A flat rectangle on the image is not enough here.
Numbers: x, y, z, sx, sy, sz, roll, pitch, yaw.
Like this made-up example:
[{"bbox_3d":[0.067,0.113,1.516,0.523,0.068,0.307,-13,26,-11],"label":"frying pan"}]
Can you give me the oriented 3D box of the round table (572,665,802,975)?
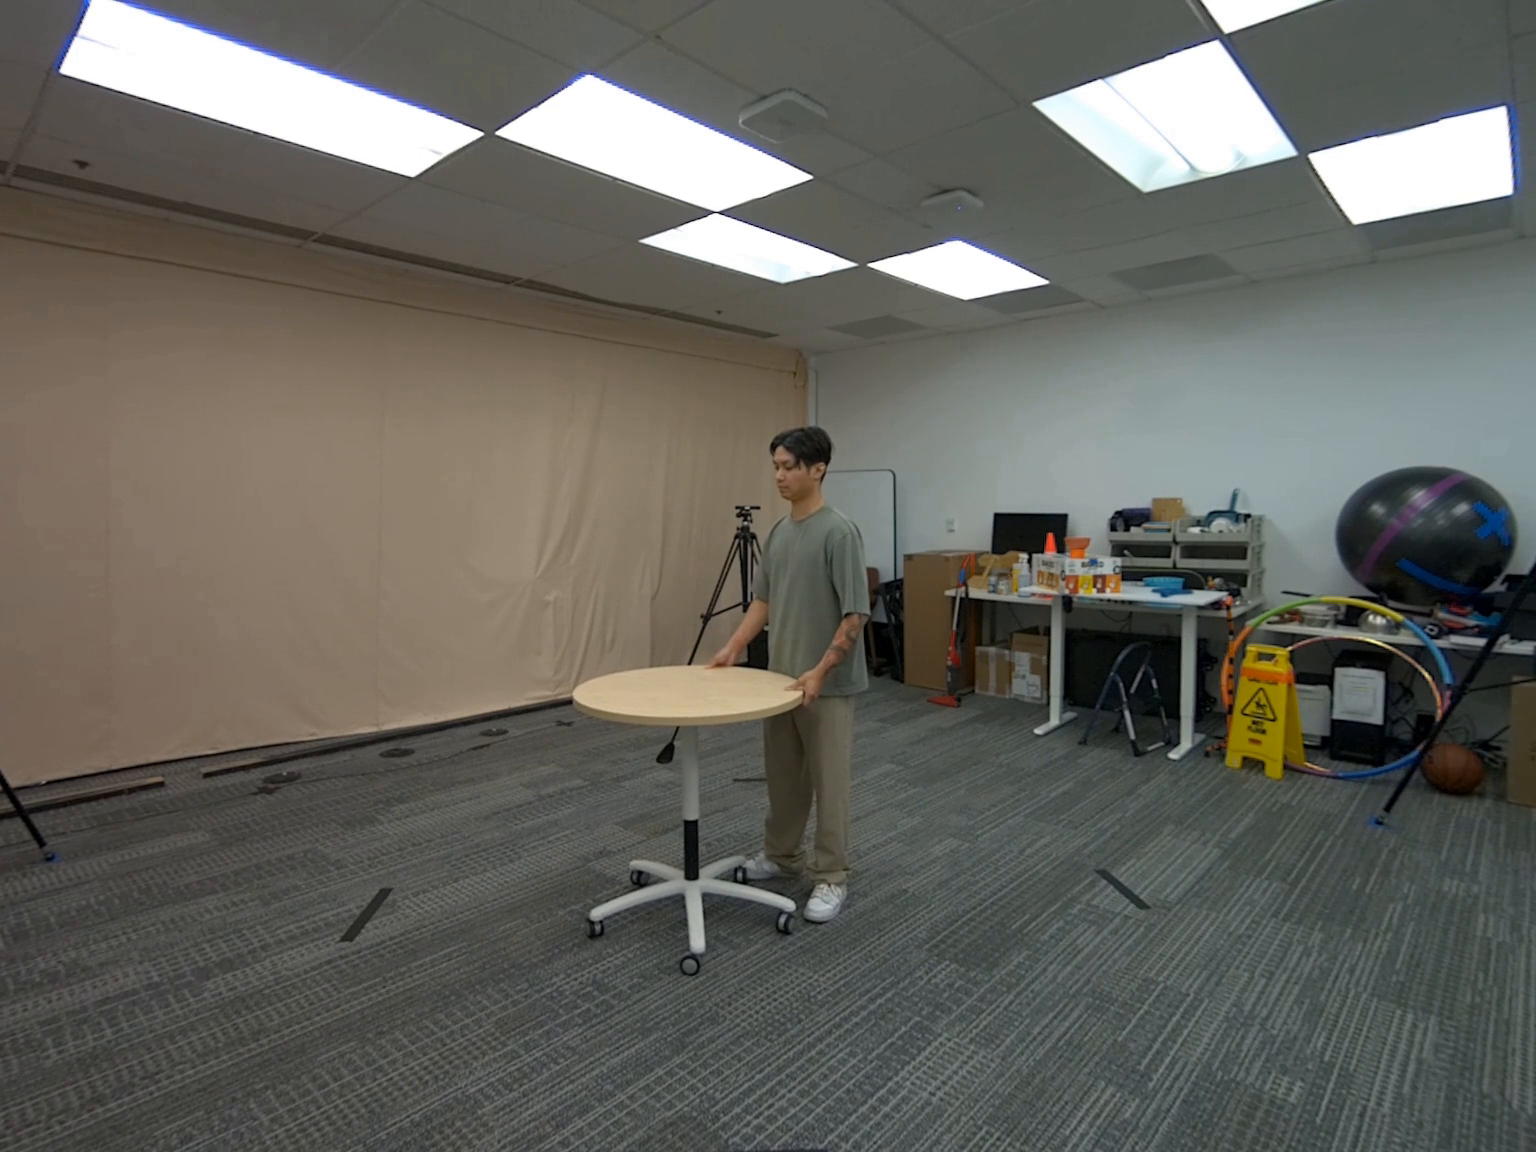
[{"bbox_3d":[-0.254,0.763,2.834,0.784,0.785,0.788,-1,4,-2],"label":"round table"}]
